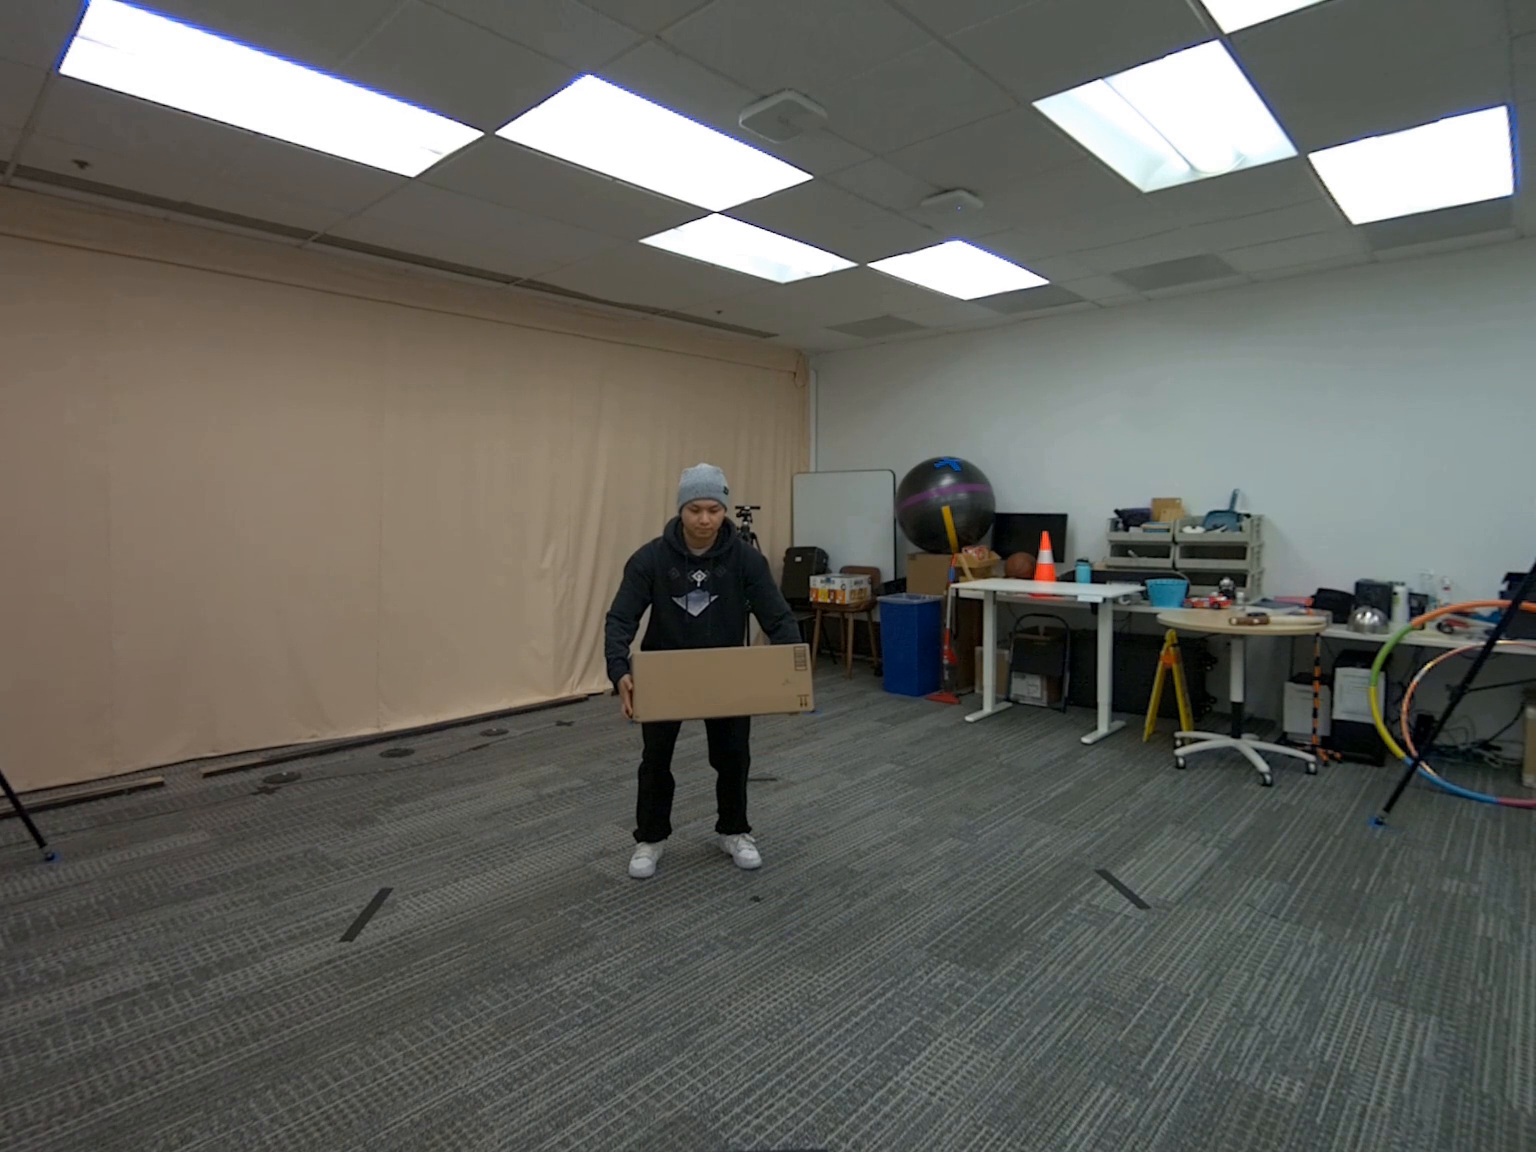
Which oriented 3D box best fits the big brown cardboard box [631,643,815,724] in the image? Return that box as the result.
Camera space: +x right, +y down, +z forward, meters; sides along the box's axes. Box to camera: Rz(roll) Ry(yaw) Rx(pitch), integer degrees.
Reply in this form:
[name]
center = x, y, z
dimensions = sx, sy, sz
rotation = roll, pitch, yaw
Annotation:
[big brown cardboard box]
center = -0.177, 0.362, 2.858
dimensions = 0.585, 0.234, 0.418
rotation = -3, -6, -7
